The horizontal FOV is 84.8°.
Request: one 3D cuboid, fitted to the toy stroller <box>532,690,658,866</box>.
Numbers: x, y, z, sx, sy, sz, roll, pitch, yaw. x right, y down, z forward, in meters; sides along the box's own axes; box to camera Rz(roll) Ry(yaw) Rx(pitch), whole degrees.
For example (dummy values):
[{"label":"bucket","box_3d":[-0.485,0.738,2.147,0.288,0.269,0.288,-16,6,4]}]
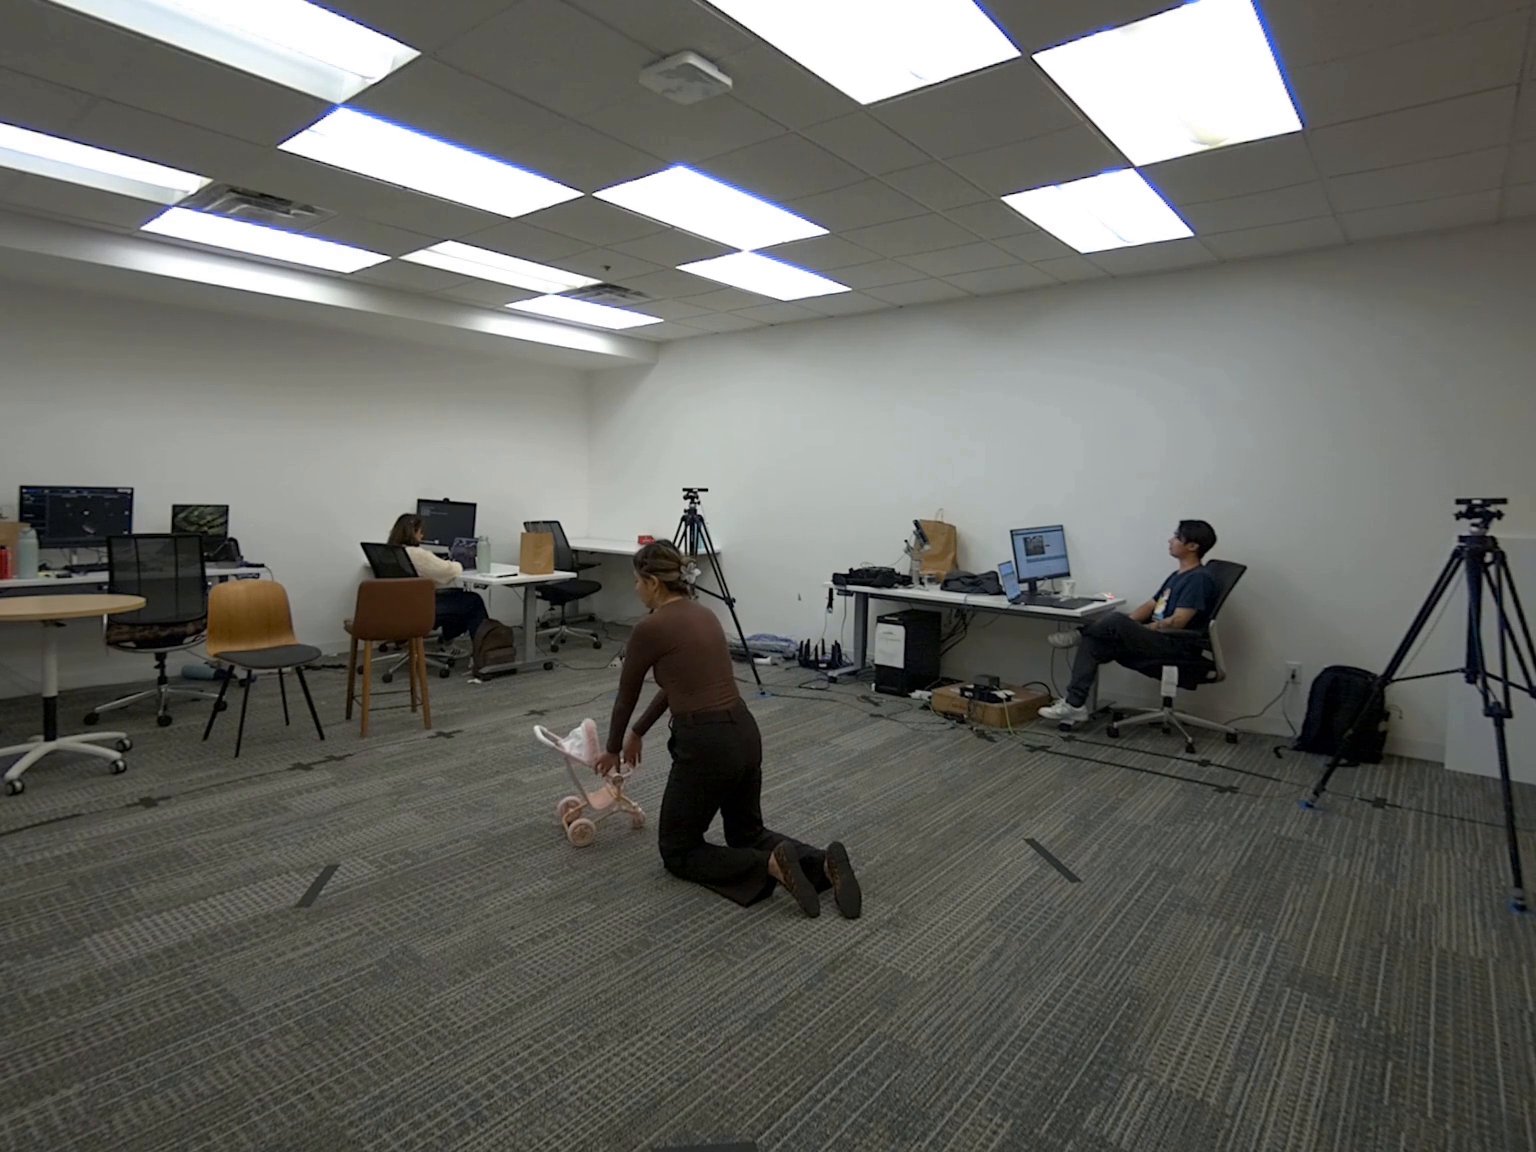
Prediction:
[{"label":"toy stroller","box_3d":[-0.704,0.801,3.403,0.337,0.529,0.288,-16,9,-16]}]
